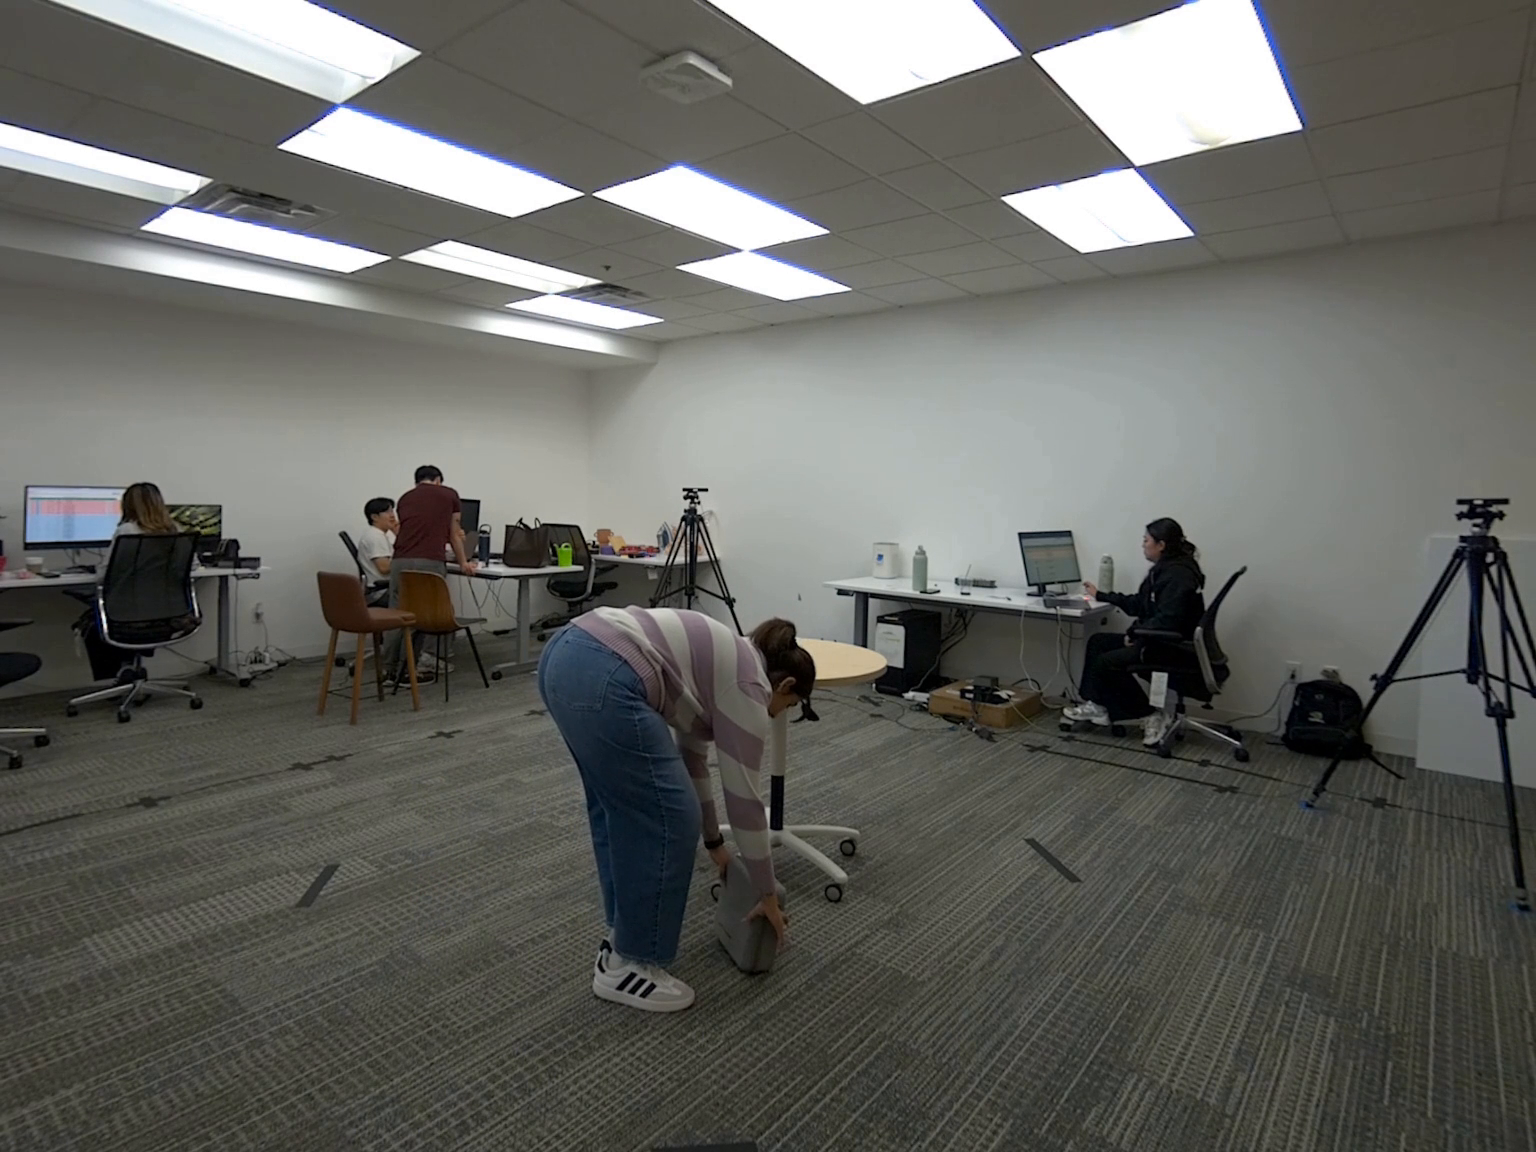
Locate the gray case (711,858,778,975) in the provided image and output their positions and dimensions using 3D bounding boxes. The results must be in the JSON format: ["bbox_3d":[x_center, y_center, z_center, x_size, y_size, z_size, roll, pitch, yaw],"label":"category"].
[{"bbox_3d":[-0.066,1.000,2.533,0.102,0.261,0.263,10,1,-24],"label":"gray case"}]
